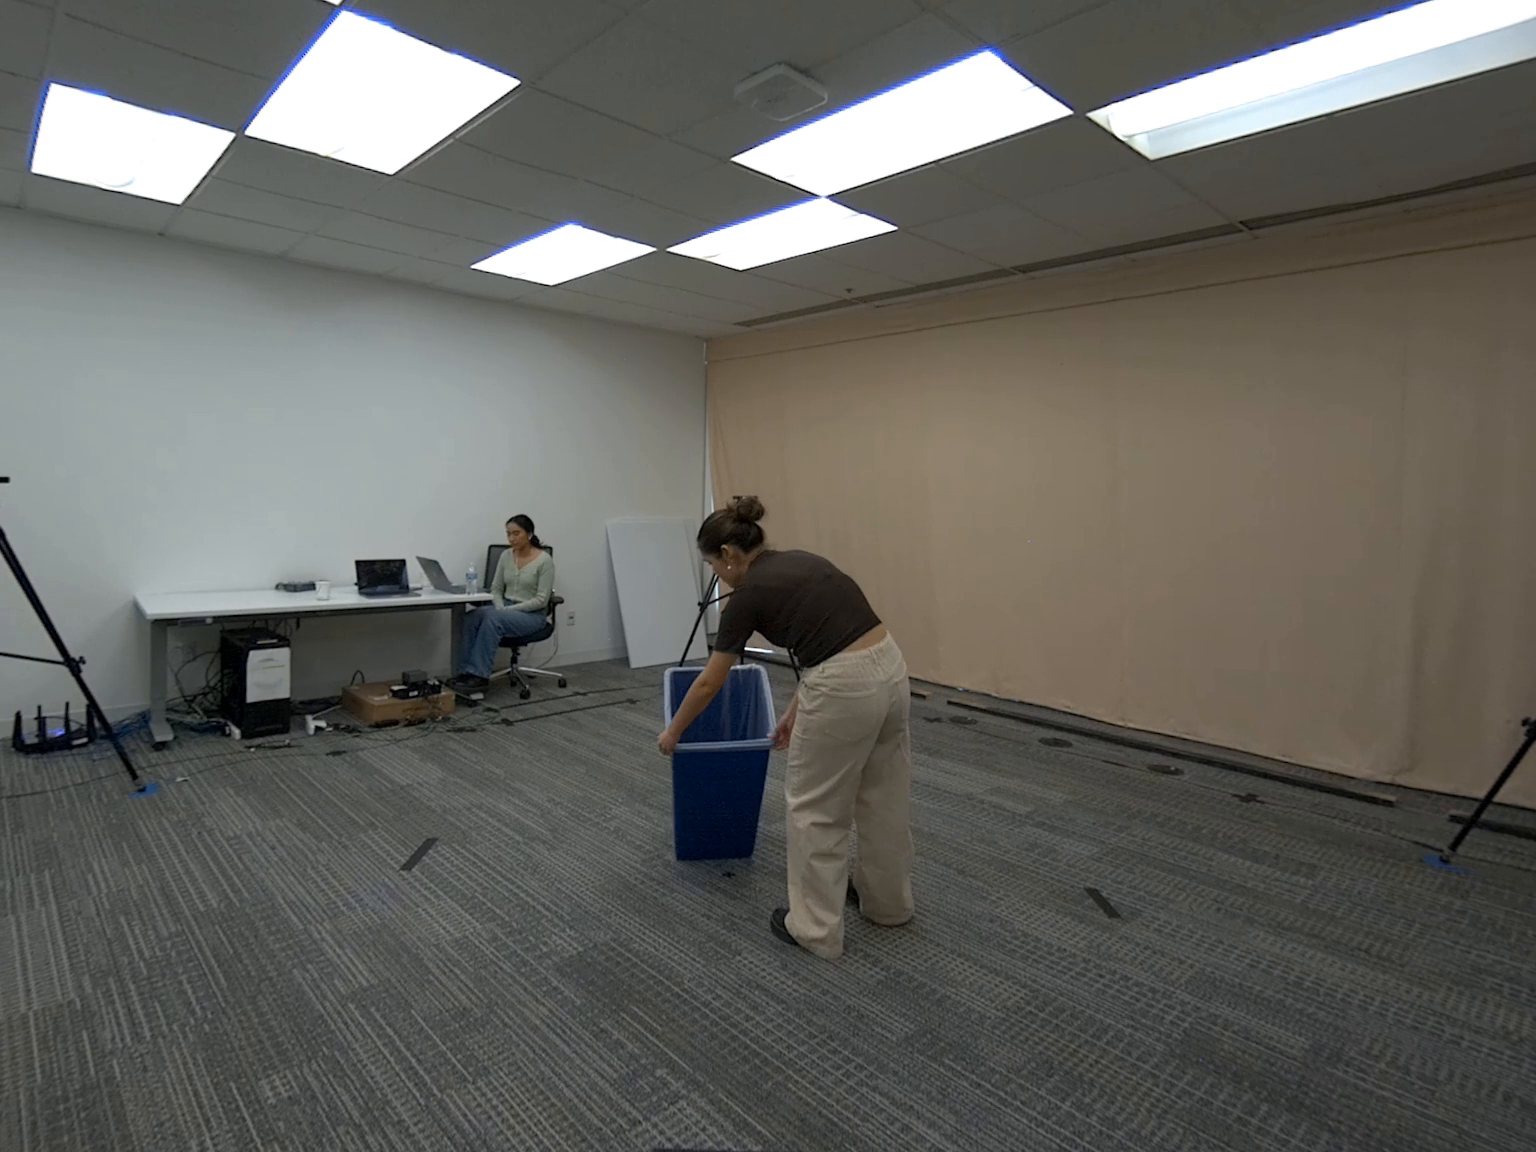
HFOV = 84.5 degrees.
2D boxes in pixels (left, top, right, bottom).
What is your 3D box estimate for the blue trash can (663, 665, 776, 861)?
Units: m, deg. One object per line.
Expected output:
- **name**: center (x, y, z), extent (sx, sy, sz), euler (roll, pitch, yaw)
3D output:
- **blue trash can**: center (-0.198, 0.720, 3.126), extent (0.376, 0.699, 0.384), euler (-2, 38, -8)
